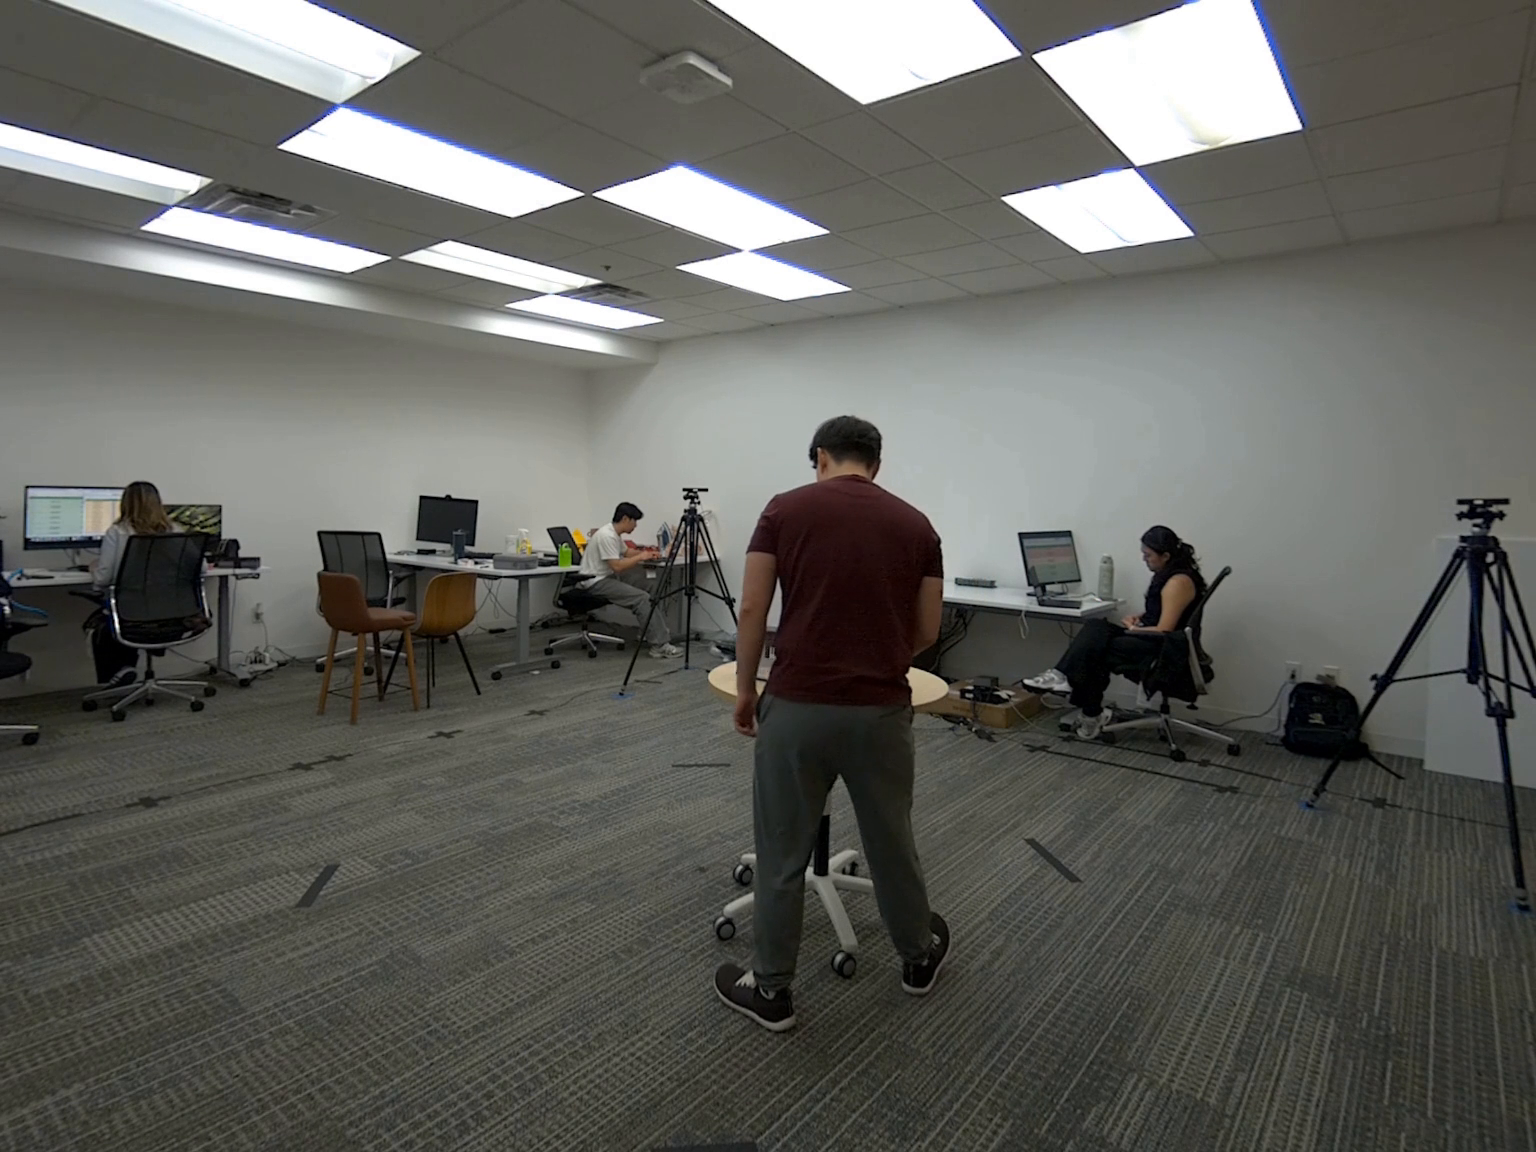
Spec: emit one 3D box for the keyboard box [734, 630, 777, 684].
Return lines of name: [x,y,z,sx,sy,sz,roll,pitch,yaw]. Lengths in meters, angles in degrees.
keyboard box: [0.095,0.251,2.661,0.451,0.176,0.057,5,0,34]
